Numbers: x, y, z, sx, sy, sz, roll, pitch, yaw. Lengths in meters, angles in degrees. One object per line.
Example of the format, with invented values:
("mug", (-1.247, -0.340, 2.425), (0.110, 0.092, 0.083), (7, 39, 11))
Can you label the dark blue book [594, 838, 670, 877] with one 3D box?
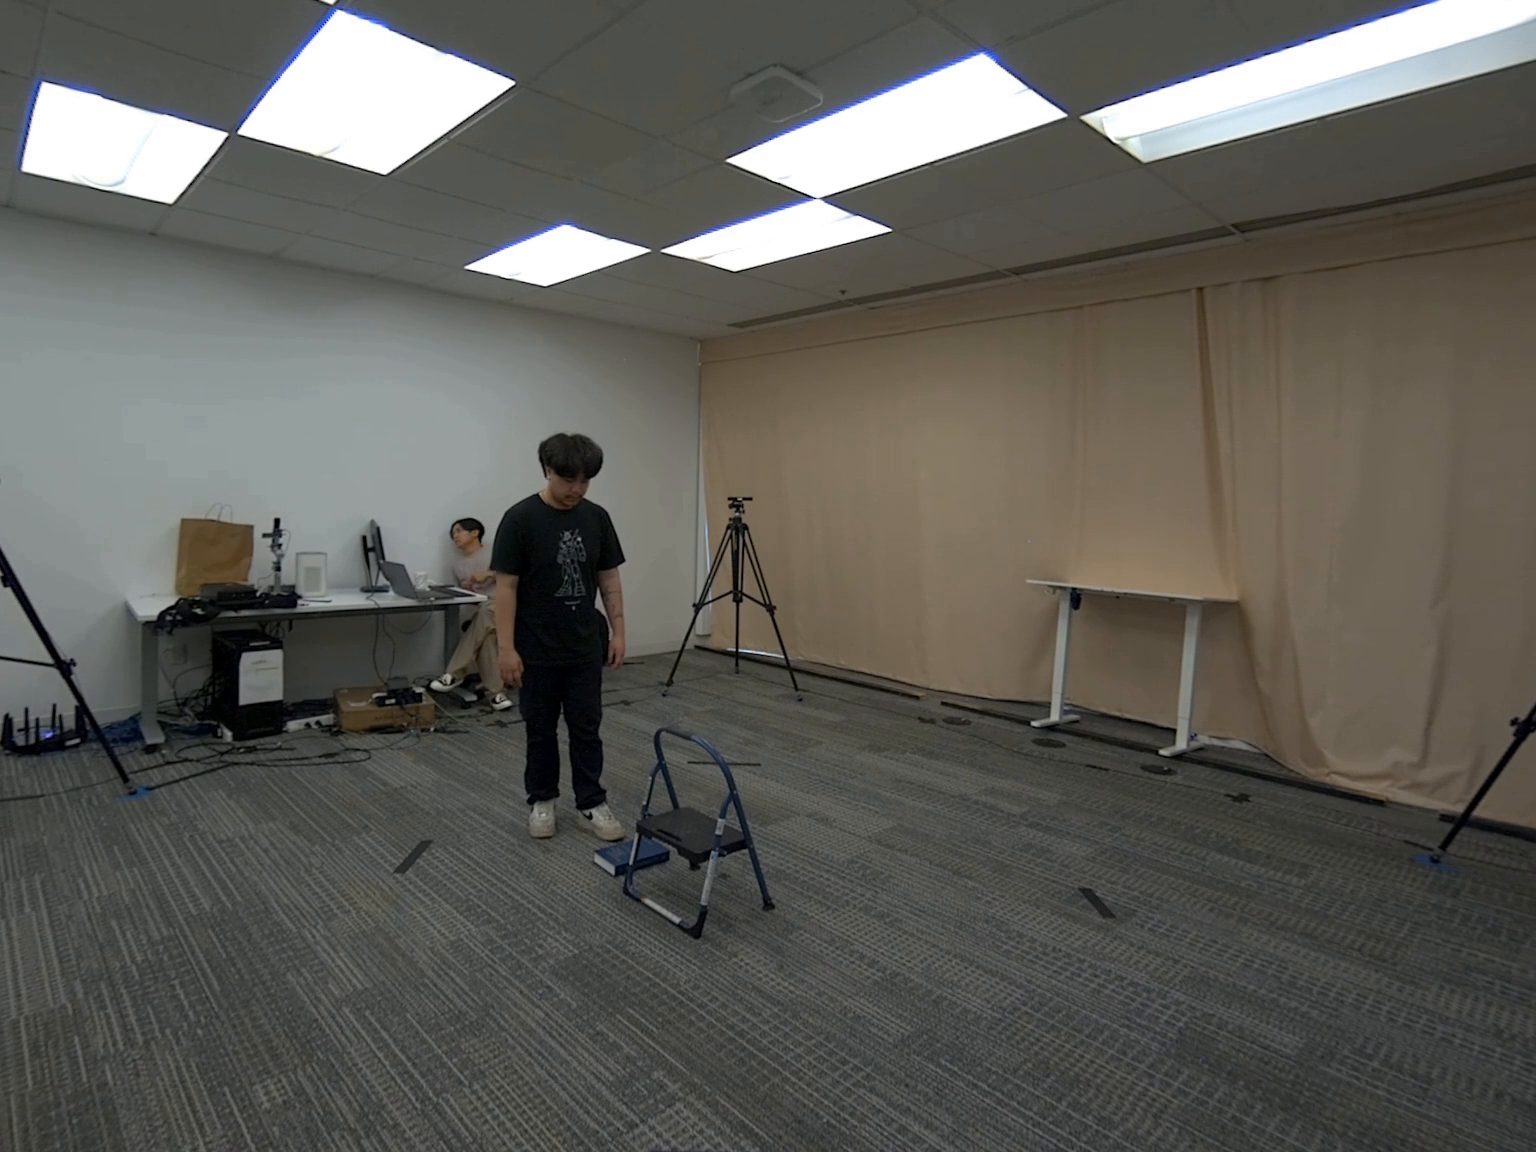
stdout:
("dark blue book", (-0.530, 1.069, 3.208), (0.239, 0.045, 0.167), (-3, 7, -40))
